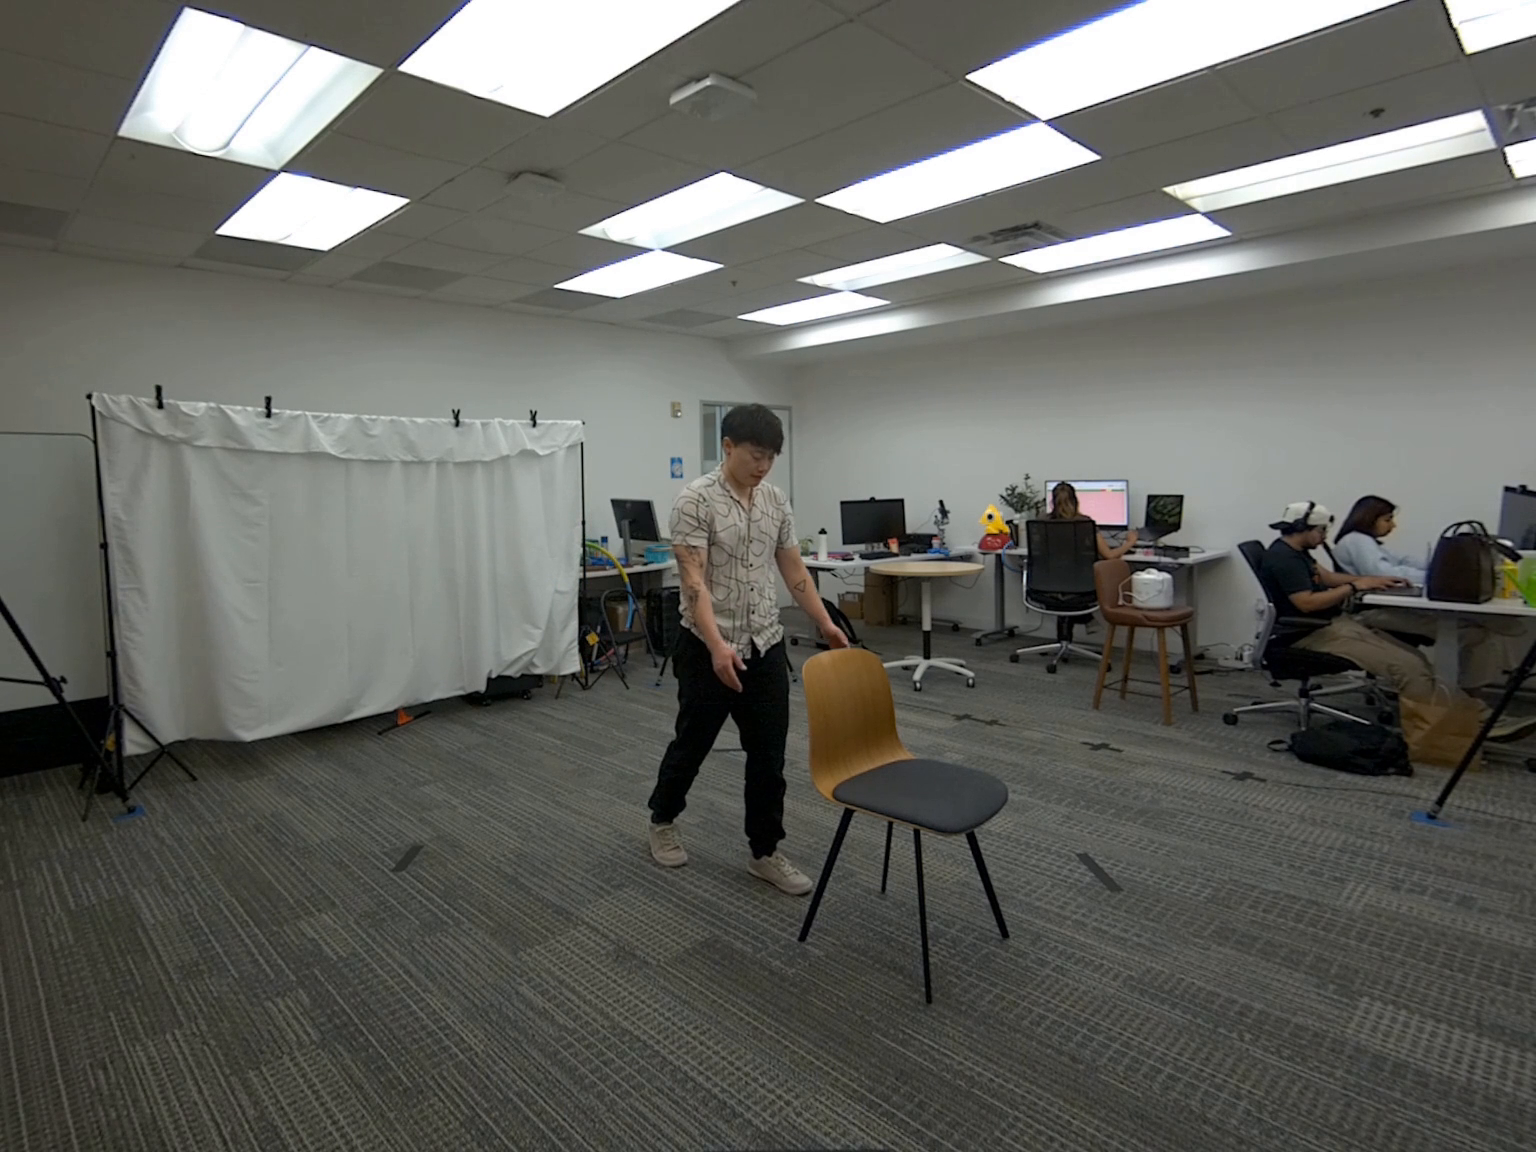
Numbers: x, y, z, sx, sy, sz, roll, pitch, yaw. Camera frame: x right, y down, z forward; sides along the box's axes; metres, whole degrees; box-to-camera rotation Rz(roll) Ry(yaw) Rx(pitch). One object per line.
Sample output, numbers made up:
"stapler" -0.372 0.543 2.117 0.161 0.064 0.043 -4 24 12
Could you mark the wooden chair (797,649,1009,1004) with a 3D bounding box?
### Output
"wooden chair" 0.411 0.676 2.542 0.537 0.877 0.465 -3 1 44
